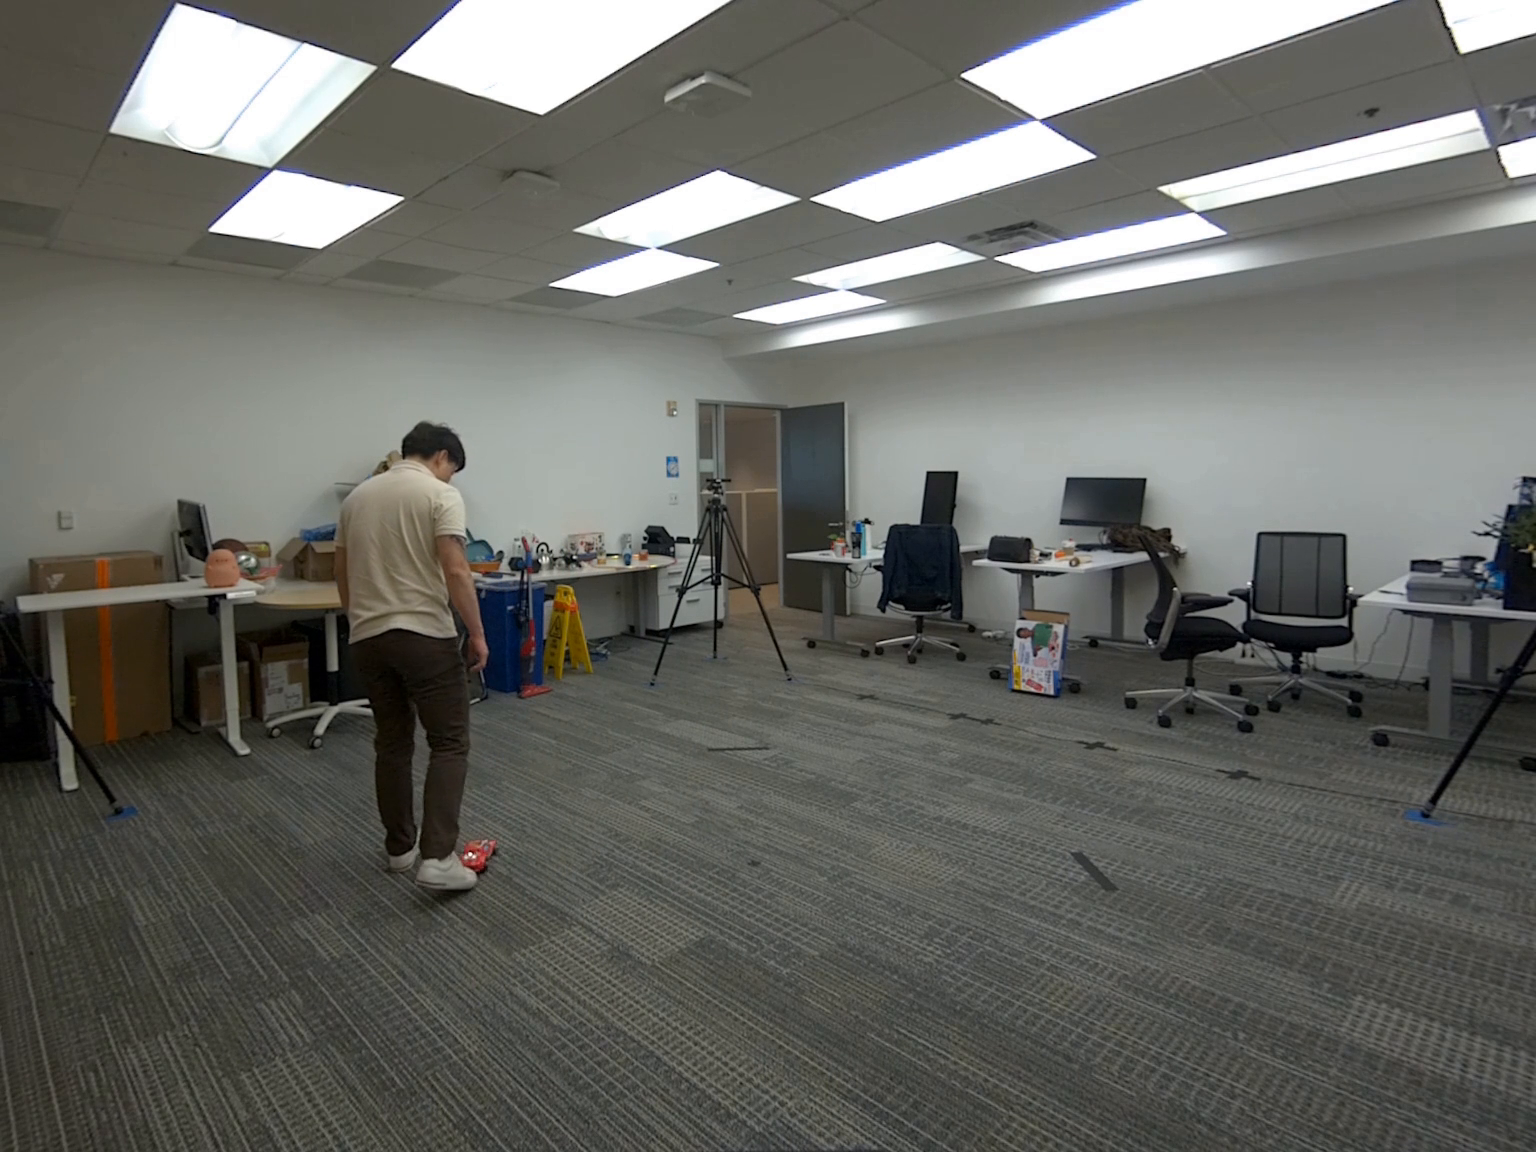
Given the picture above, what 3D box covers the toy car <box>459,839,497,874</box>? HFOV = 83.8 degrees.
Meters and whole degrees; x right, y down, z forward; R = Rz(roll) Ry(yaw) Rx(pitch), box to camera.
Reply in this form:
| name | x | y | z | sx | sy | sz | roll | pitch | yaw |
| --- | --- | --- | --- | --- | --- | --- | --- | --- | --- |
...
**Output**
| name | x | y | z | sx | sy | sz | roll | pitch | yaw |
| --- | --- | --- | --- | --- | --- | --- | --- | --- | --- |
| toy car | -1.080 | 1.031 | 3.145 | 0.130 | 0.084 | 0.253 | 1 | -5 | -2 |
